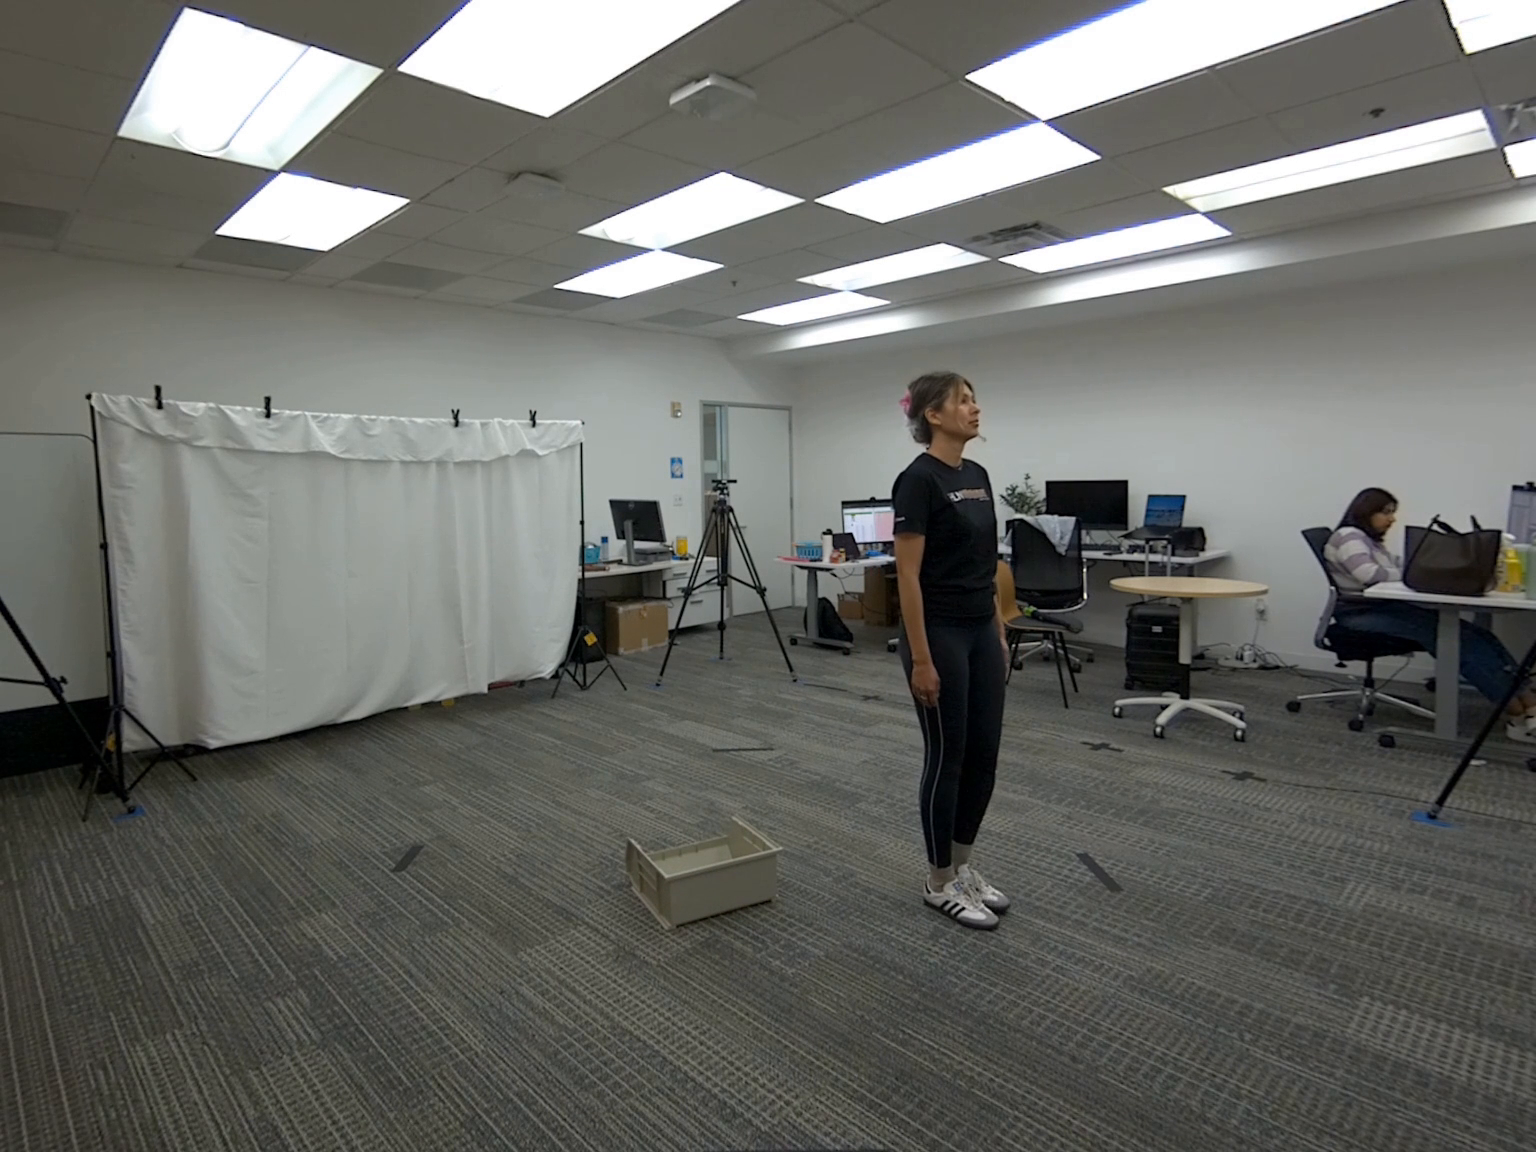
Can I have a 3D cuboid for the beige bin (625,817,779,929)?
[{"bbox_3d":[-0.221,0.987,2.892,0.413,0.188,0.388,-4,7,-29],"label":"beige bin"}]
